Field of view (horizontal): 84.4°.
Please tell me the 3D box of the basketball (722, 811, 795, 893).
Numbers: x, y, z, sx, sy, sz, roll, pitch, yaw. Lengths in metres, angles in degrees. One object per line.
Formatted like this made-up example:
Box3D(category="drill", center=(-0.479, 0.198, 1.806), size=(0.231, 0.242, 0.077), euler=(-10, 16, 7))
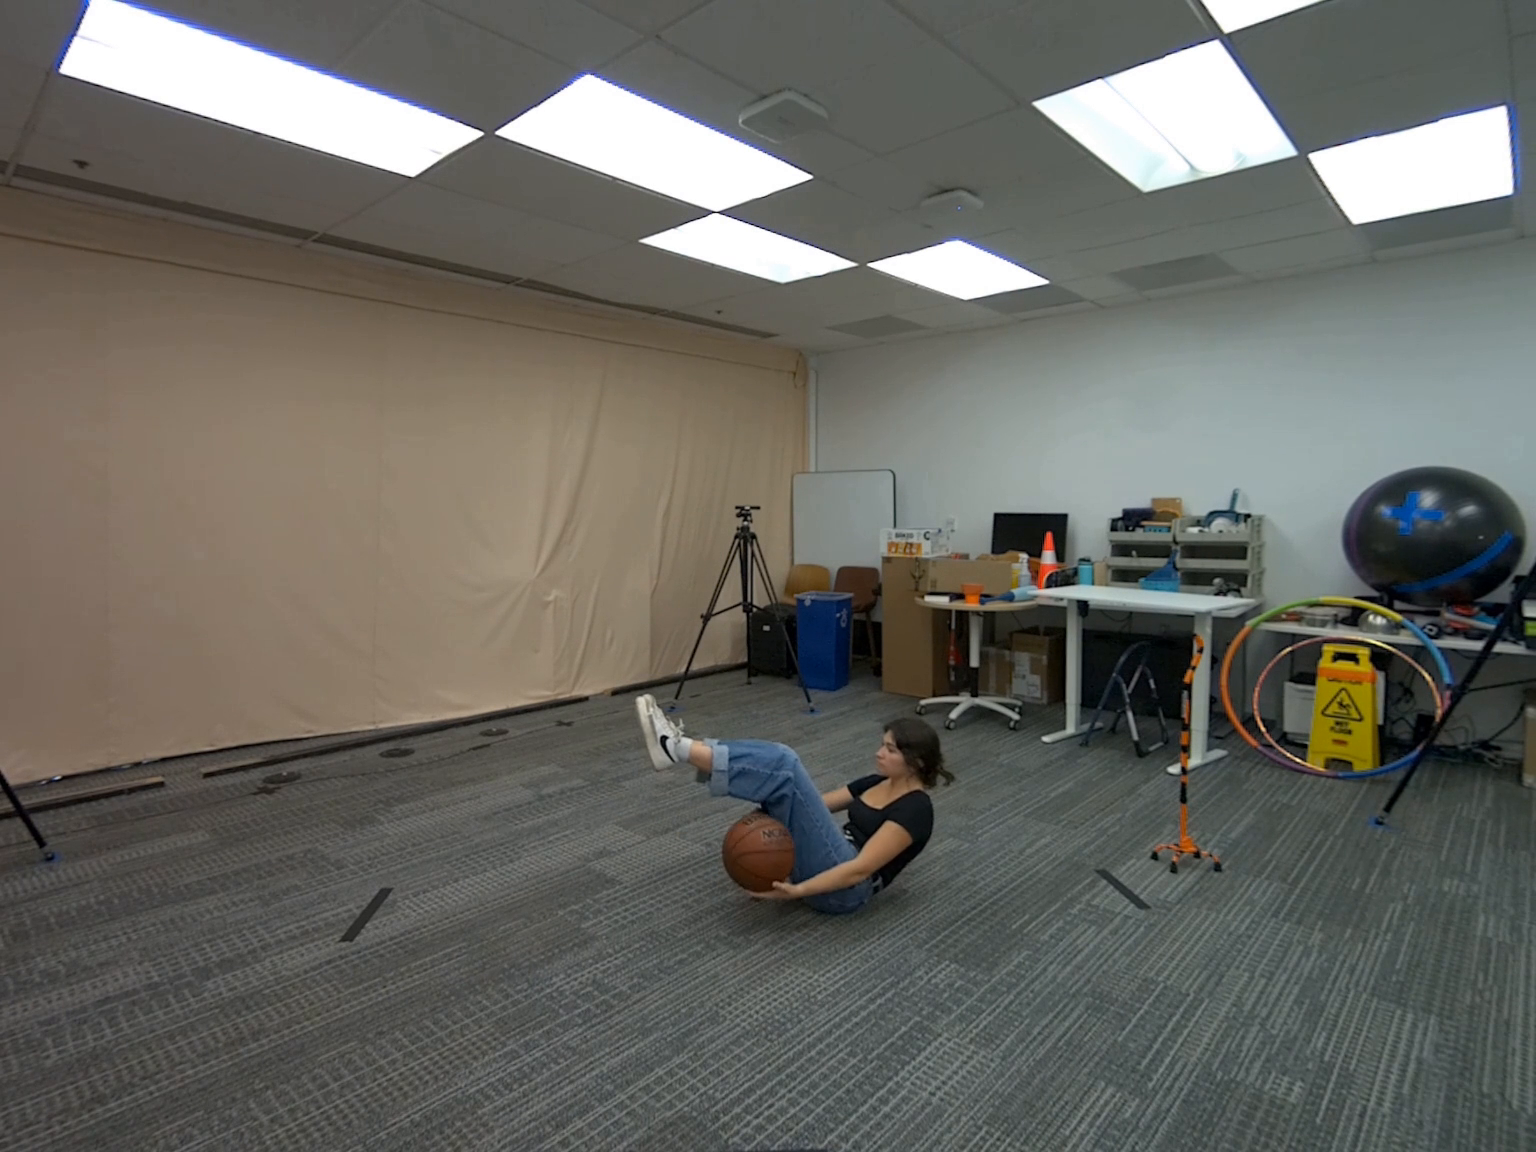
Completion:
Box3D(category="basketball", center=(-0.031, 0.892, 2.763), size=(0.236, 0.235, 0.237), euler=(0, 4, -2))
